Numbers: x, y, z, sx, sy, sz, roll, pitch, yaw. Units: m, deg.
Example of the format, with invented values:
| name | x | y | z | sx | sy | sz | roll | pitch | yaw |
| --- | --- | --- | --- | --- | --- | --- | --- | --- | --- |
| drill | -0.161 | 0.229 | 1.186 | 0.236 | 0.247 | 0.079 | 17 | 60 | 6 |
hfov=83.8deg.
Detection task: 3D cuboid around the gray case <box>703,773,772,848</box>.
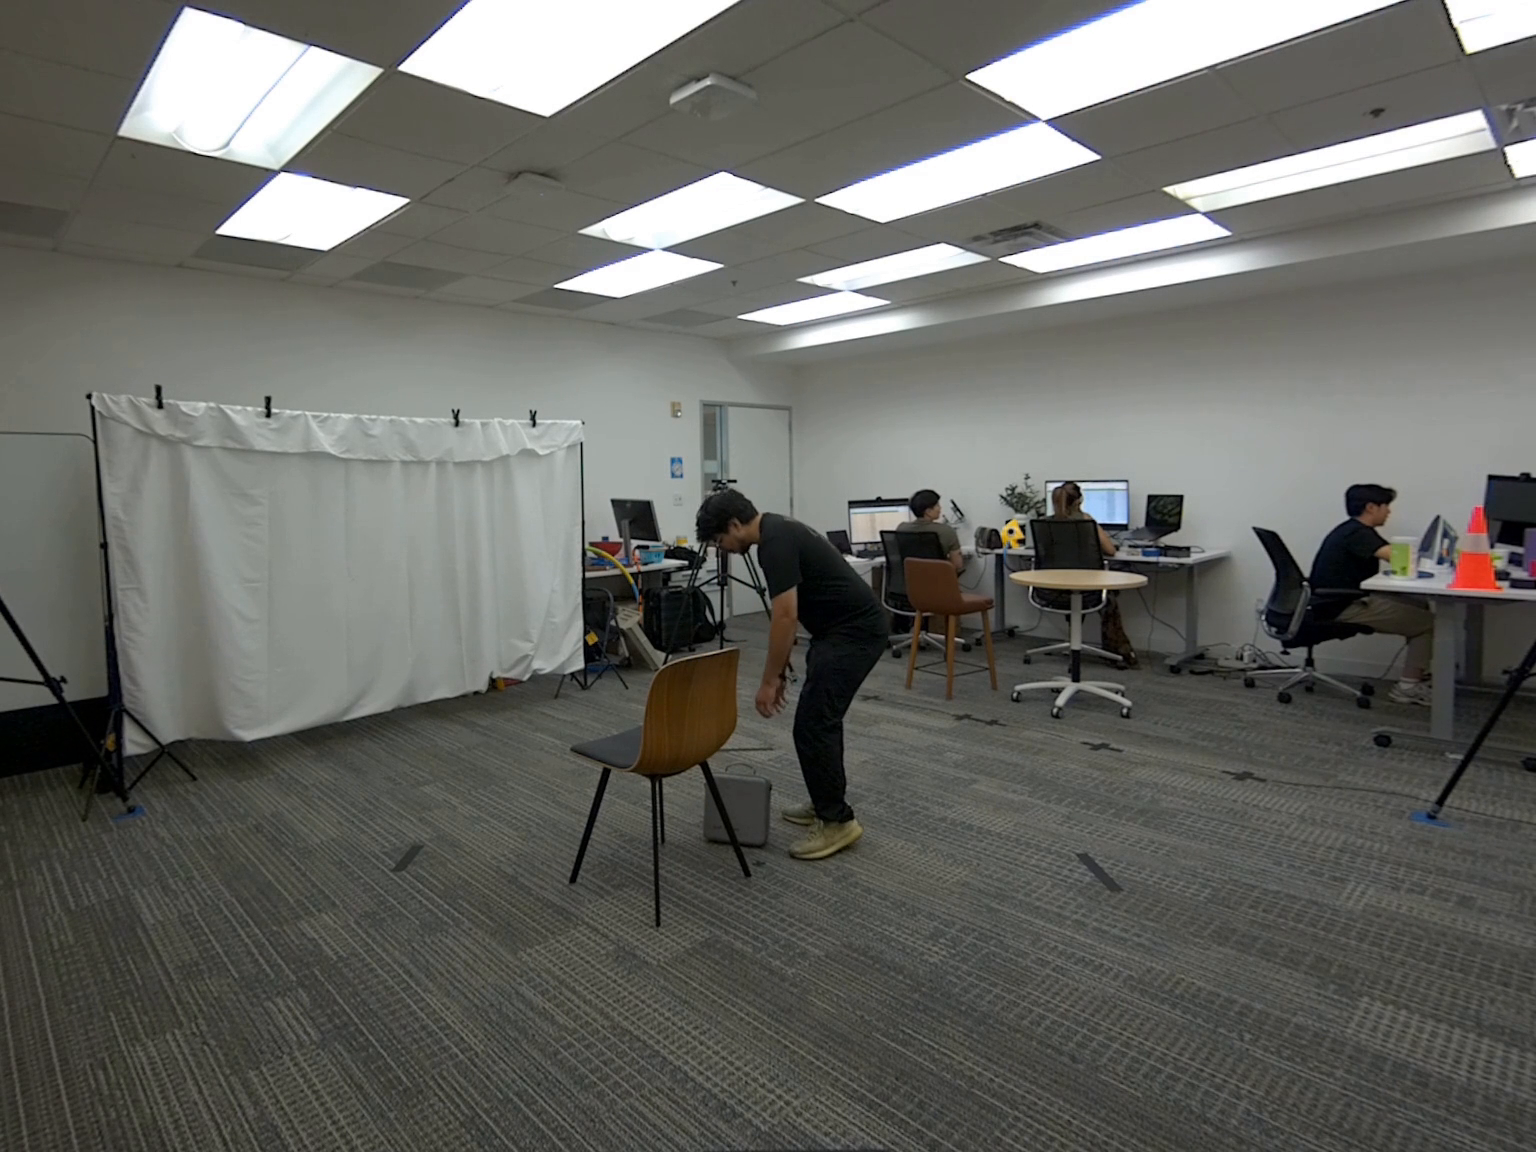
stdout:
| name | x | y | z | sx | sy | sz | roll | pitch | yaw |
| --- | --- | --- | --- | --- | --- | --- | --- | --- | --- |
| gray case | -0.119 | 0.894 | 3.316 | 0.261 | 0.262 | 0.102 | 2 | -8 | 17 |
